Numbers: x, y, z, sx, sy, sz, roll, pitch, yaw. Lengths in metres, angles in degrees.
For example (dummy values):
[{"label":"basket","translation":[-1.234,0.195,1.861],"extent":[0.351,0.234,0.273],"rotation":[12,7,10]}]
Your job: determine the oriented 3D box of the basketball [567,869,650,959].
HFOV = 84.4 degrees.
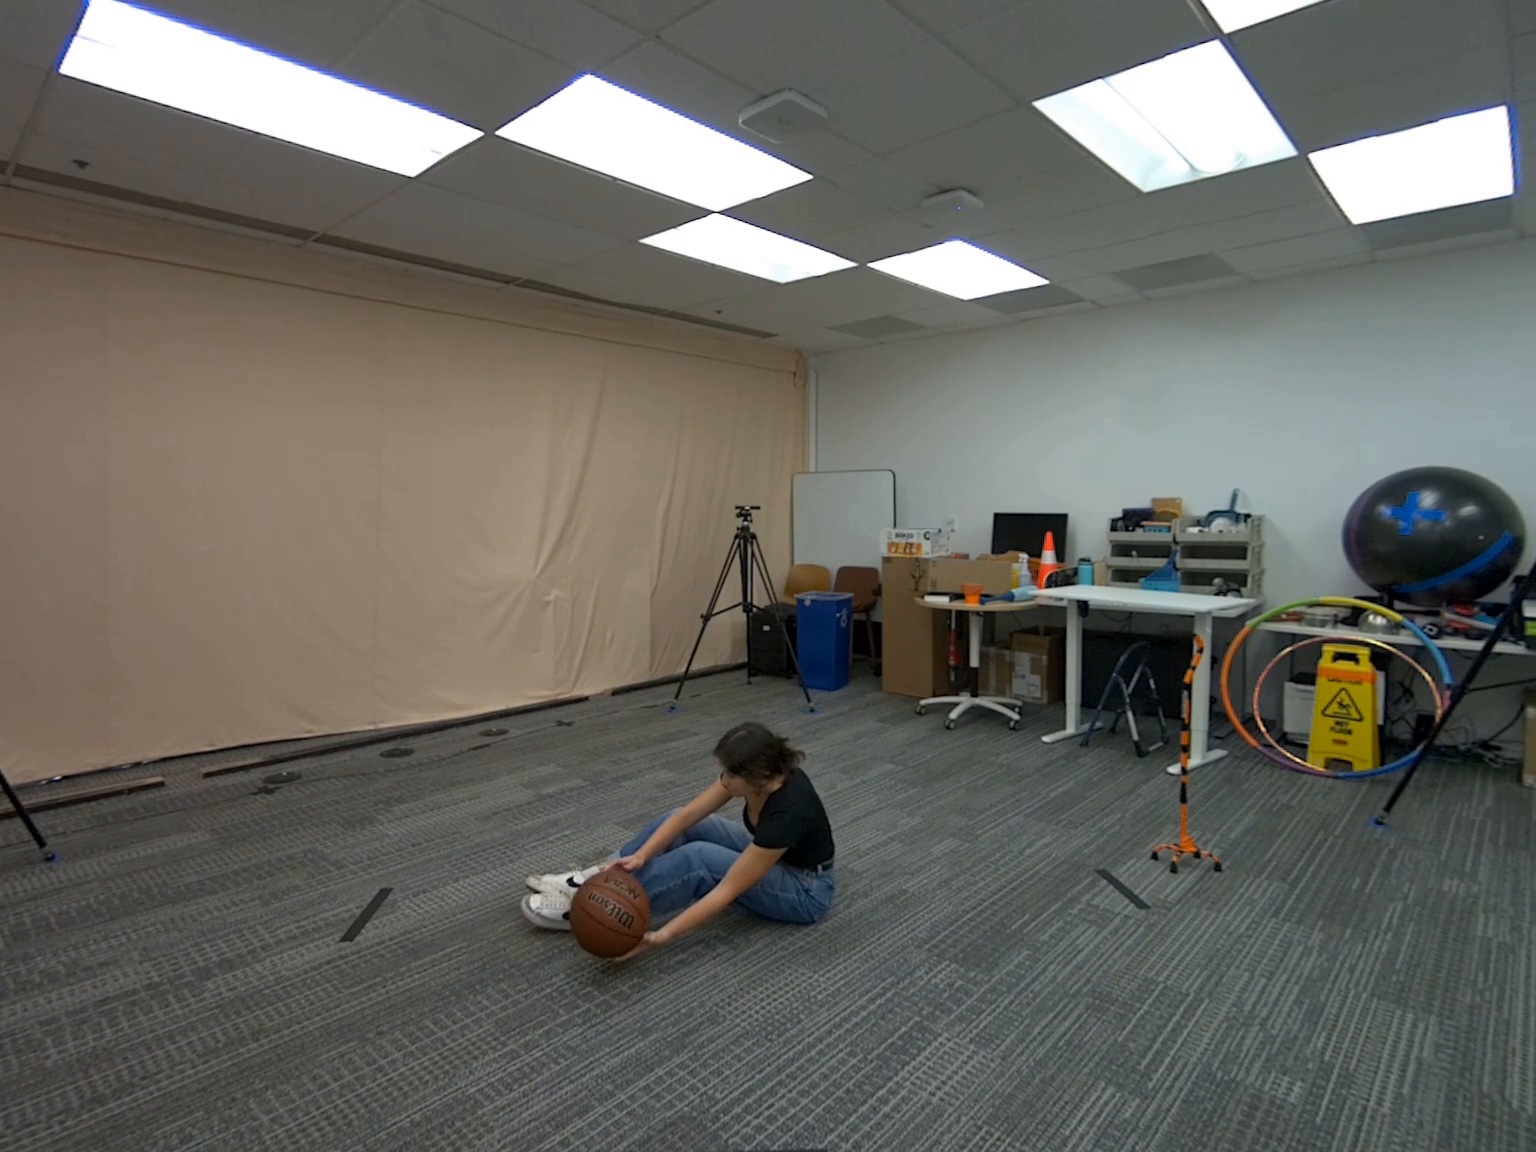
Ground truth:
[{"label":"basketball","translation":[-0.471,1.006,2.498],"extent":[0.236,0.235,0.237],"rotation":[0,4,-2]}]
